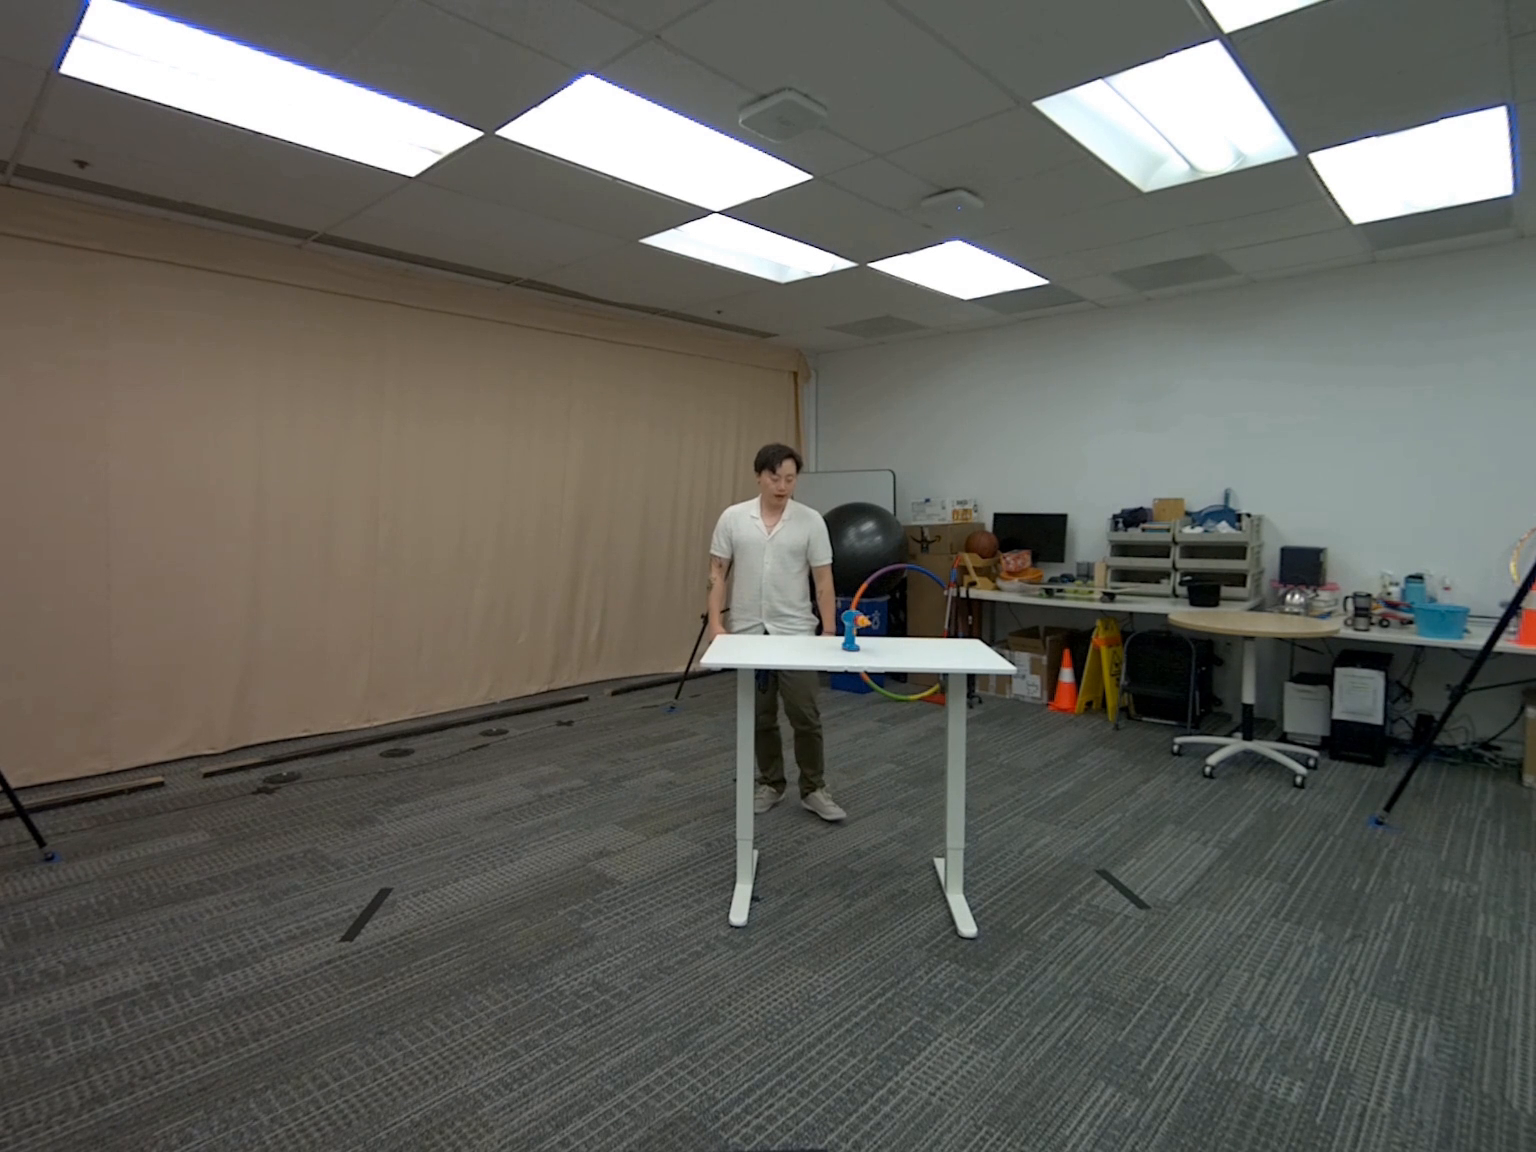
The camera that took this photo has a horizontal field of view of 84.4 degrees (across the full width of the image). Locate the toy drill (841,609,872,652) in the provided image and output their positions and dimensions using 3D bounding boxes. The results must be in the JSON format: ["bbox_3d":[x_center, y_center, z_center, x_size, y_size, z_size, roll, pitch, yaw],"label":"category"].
[{"bbox_3d":[0.307,0.193,2.948,0.060,0.146,0.173,1,4,-20],"label":"toy drill"}]
